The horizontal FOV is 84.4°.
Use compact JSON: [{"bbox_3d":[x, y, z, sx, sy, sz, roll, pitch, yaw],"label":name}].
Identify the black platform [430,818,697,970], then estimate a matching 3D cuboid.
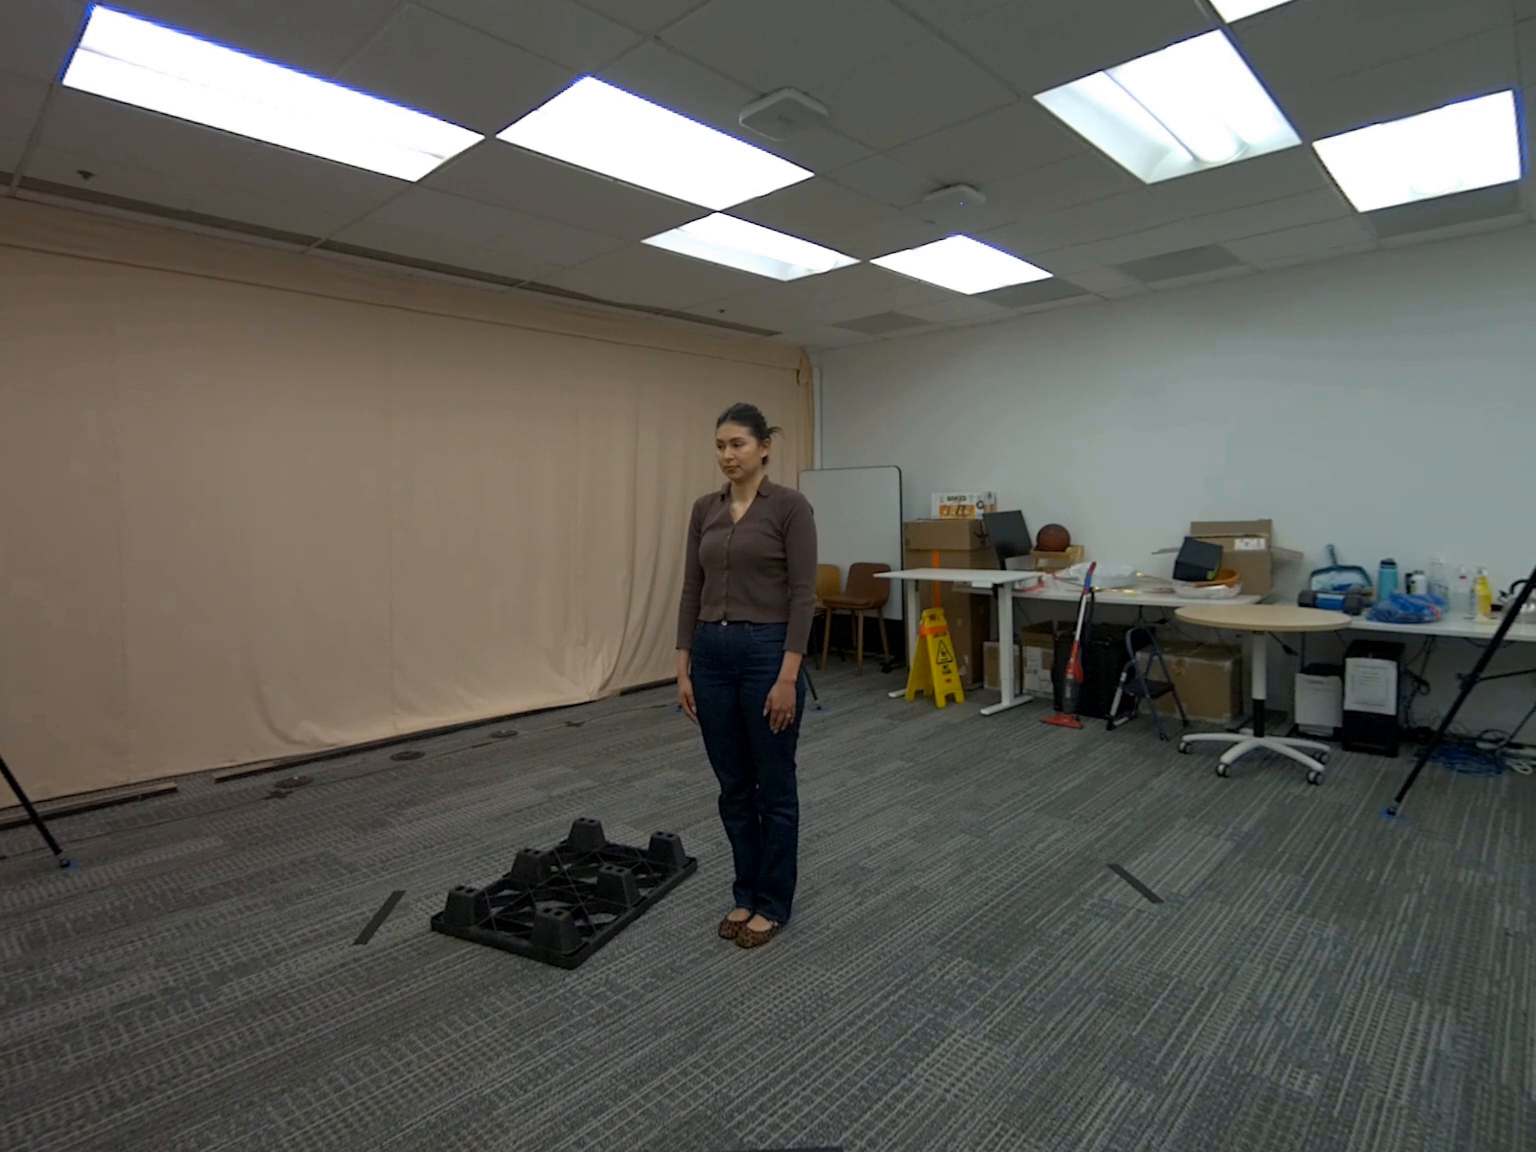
[{"bbox_3d":[-0.702,1.086,3.020,0.621,0.143,0.787,1,5,25],"label":"black platform"}]
